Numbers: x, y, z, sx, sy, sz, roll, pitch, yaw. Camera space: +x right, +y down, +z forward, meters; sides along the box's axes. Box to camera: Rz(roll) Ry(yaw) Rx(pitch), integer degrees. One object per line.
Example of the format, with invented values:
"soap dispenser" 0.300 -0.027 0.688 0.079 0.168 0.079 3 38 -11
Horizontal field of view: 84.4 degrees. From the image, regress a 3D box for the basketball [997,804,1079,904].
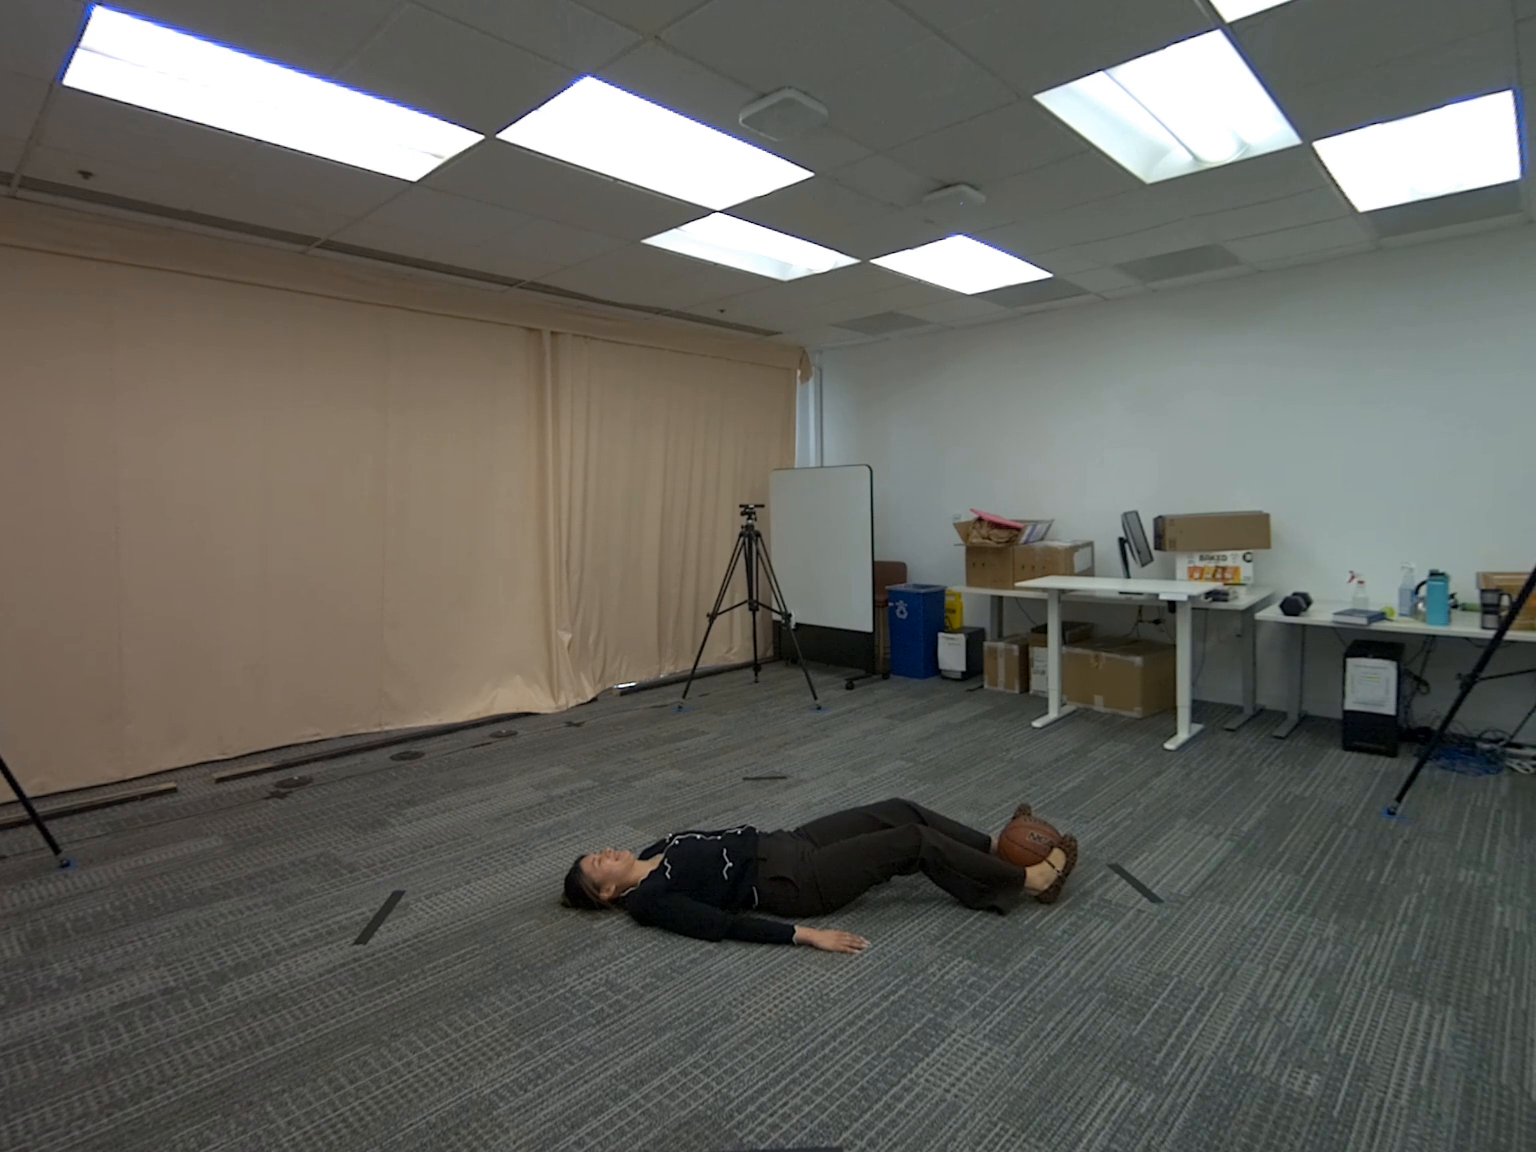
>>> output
"basketball" 0.967 0.999 3.059 0.236 0.236 0.236 0 1 -2
